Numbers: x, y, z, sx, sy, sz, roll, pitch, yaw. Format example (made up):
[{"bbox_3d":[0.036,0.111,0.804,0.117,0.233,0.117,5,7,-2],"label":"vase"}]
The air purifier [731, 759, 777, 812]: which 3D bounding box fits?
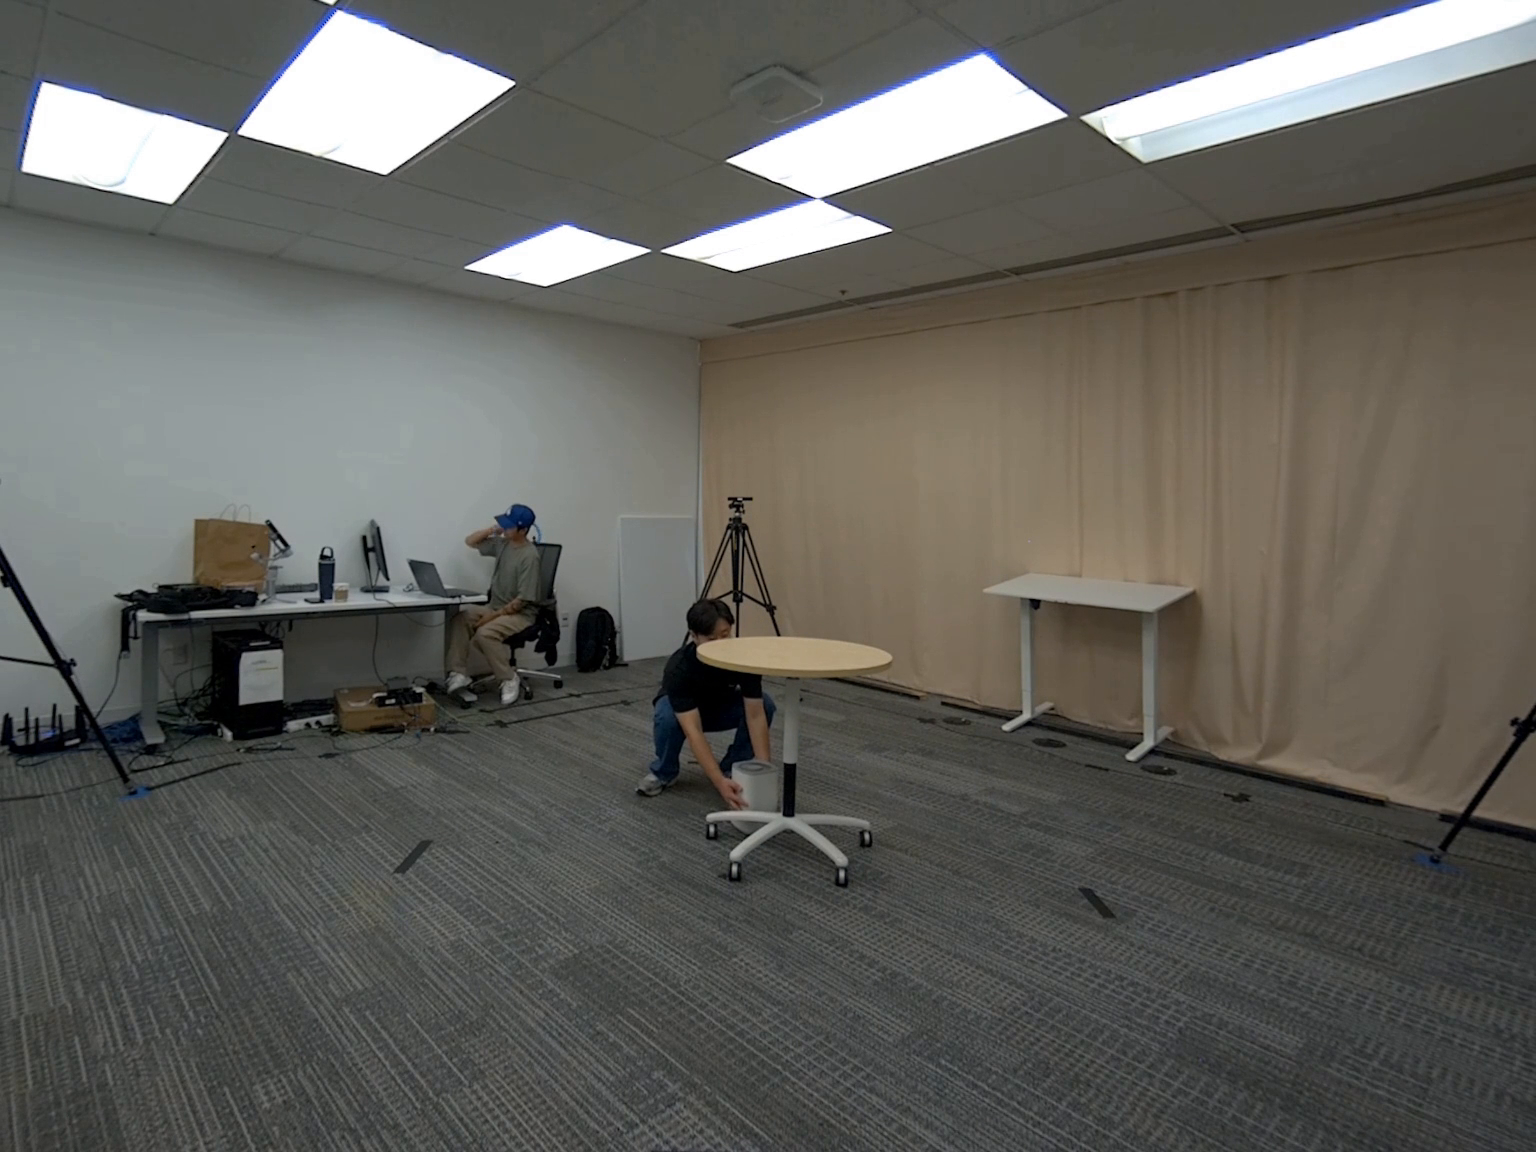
[{"bbox_3d":[-0.073,0.938,3.561,0.167,0.264,0.176,-1,6,-31],"label":"air purifier"}]
